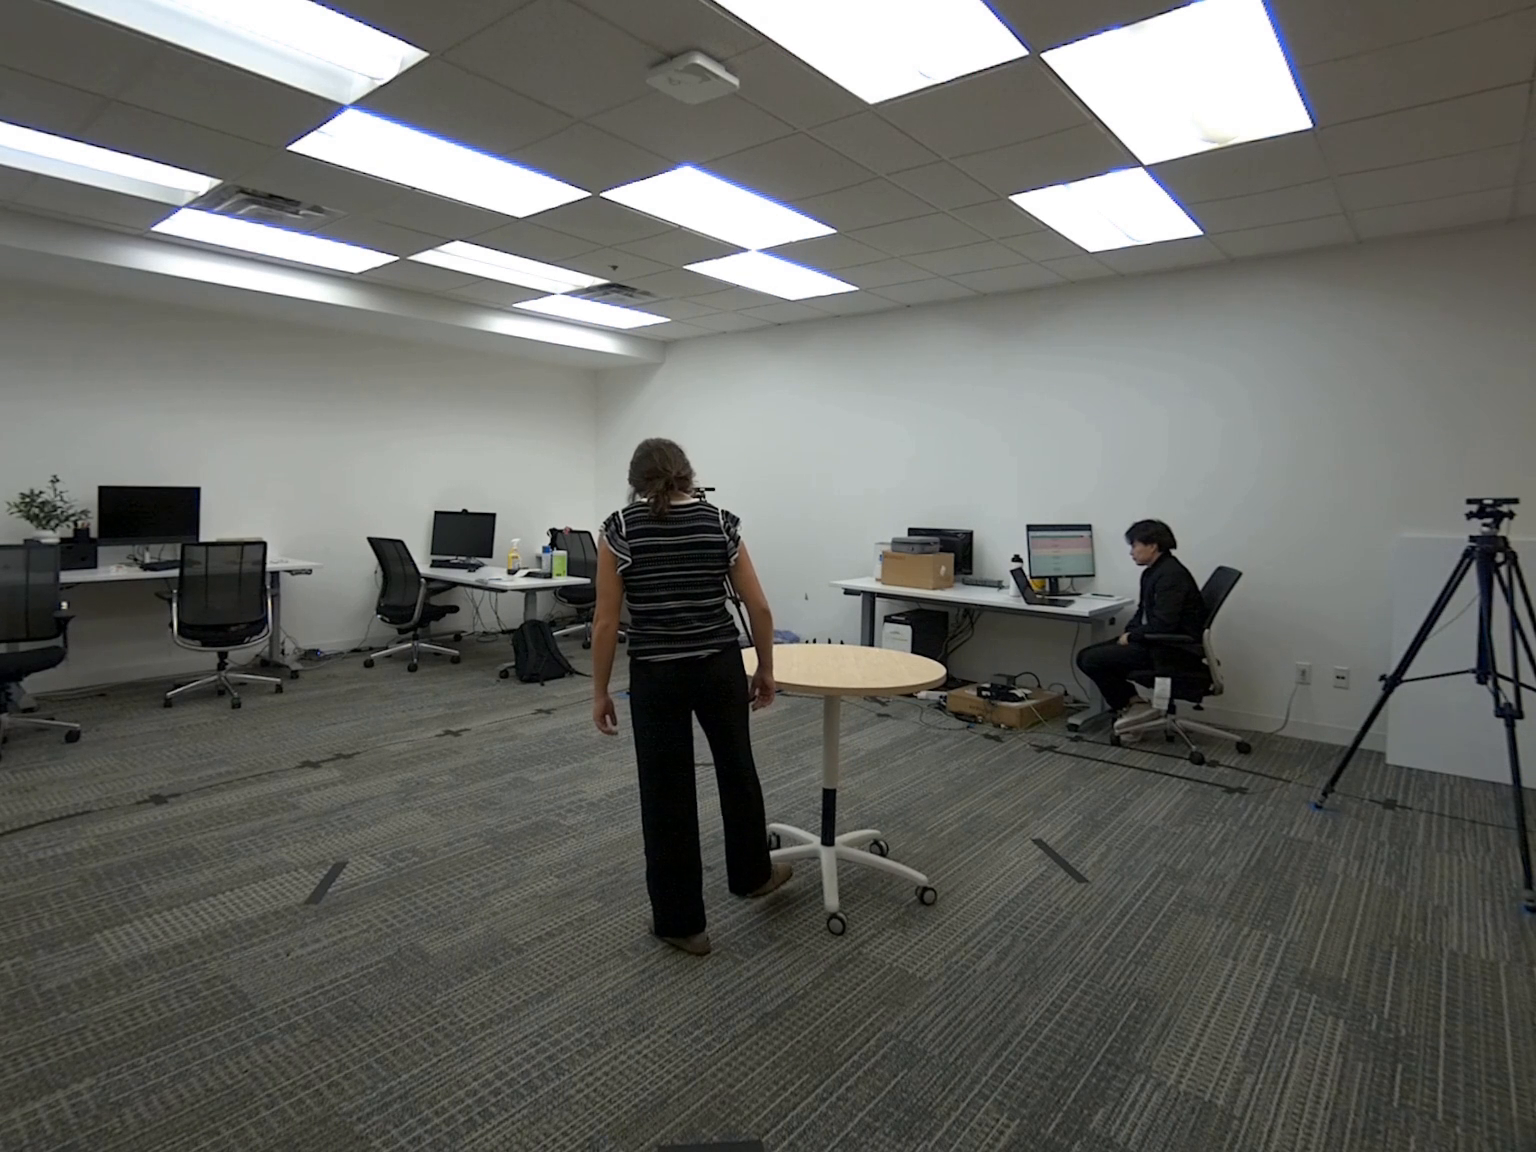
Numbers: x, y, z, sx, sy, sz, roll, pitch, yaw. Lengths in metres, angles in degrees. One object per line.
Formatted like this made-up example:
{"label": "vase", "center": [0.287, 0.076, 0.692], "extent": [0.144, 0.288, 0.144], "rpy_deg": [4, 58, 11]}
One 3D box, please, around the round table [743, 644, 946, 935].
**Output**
{"label": "round table", "center": [0.221, 0.692, 2.993], "extent": [0.784, 0.784, 0.789], "rpy_deg": [1, 4, -2]}
